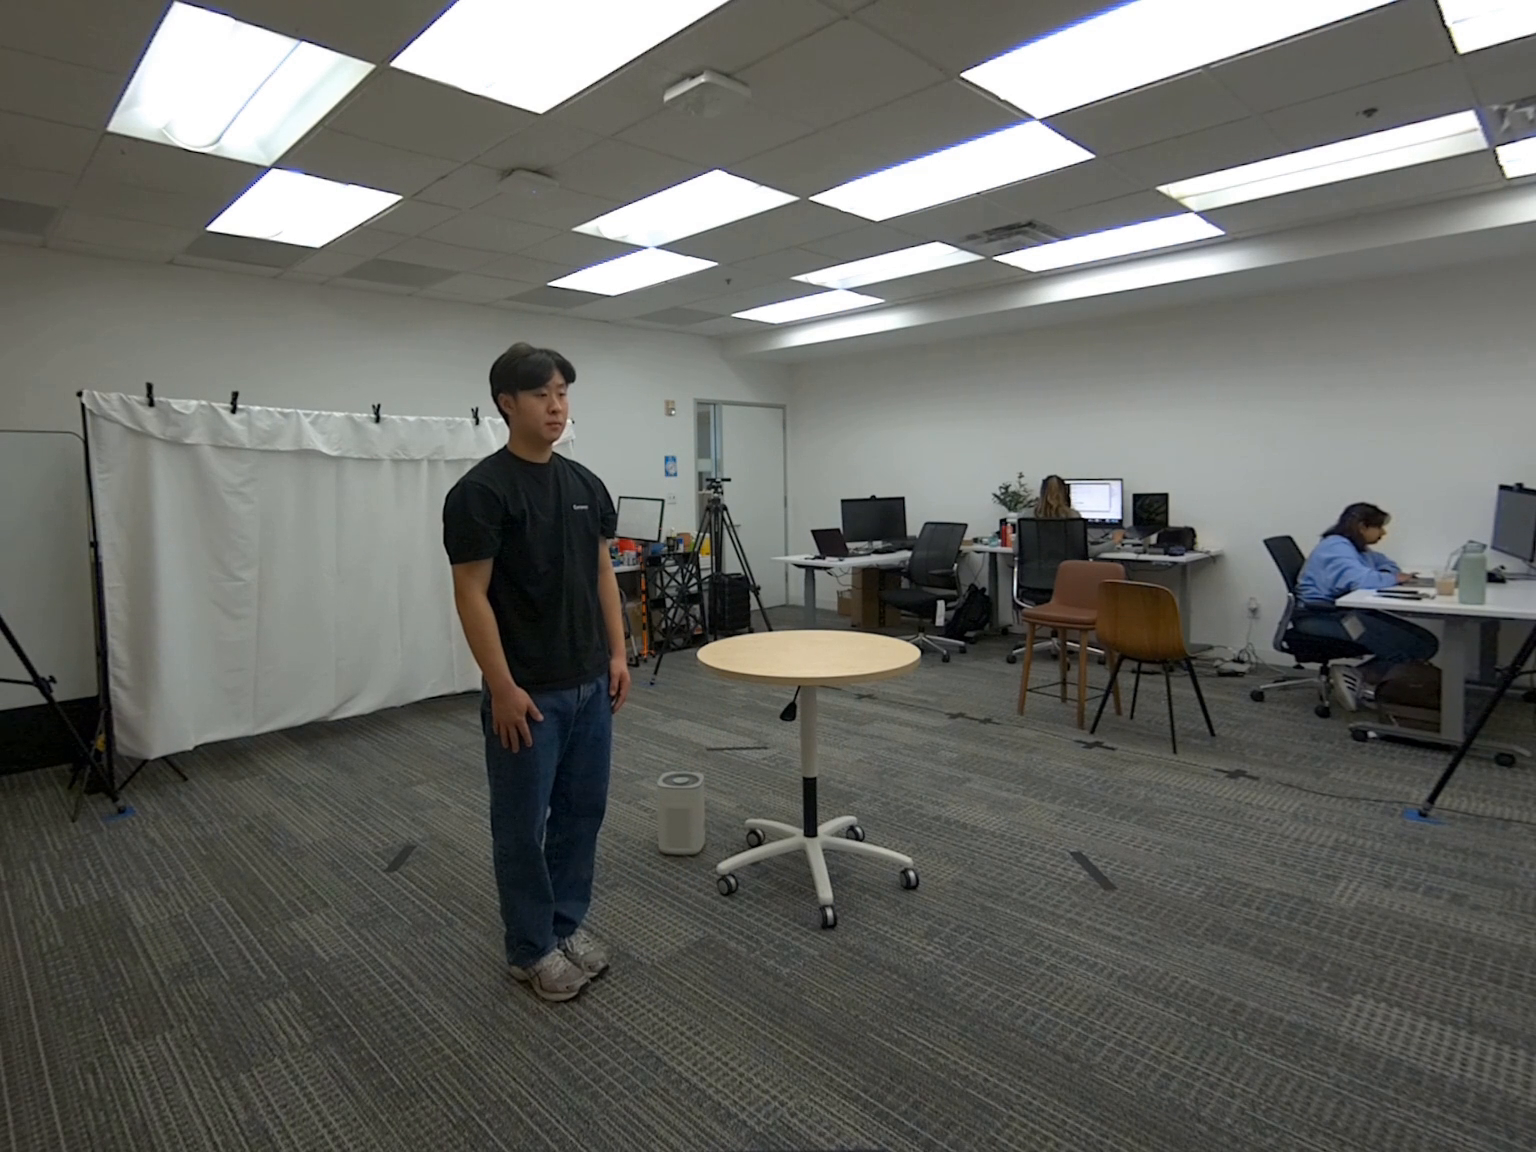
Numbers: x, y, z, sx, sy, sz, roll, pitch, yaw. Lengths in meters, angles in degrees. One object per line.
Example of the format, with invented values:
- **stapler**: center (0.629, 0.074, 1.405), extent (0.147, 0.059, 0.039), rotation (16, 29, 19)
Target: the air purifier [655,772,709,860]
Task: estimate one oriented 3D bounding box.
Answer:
- **air purifier**: center (-0.325, 0.898, 3.231), extent (0.172, 0.264, 0.171), rotation (-1, 4, 4)
